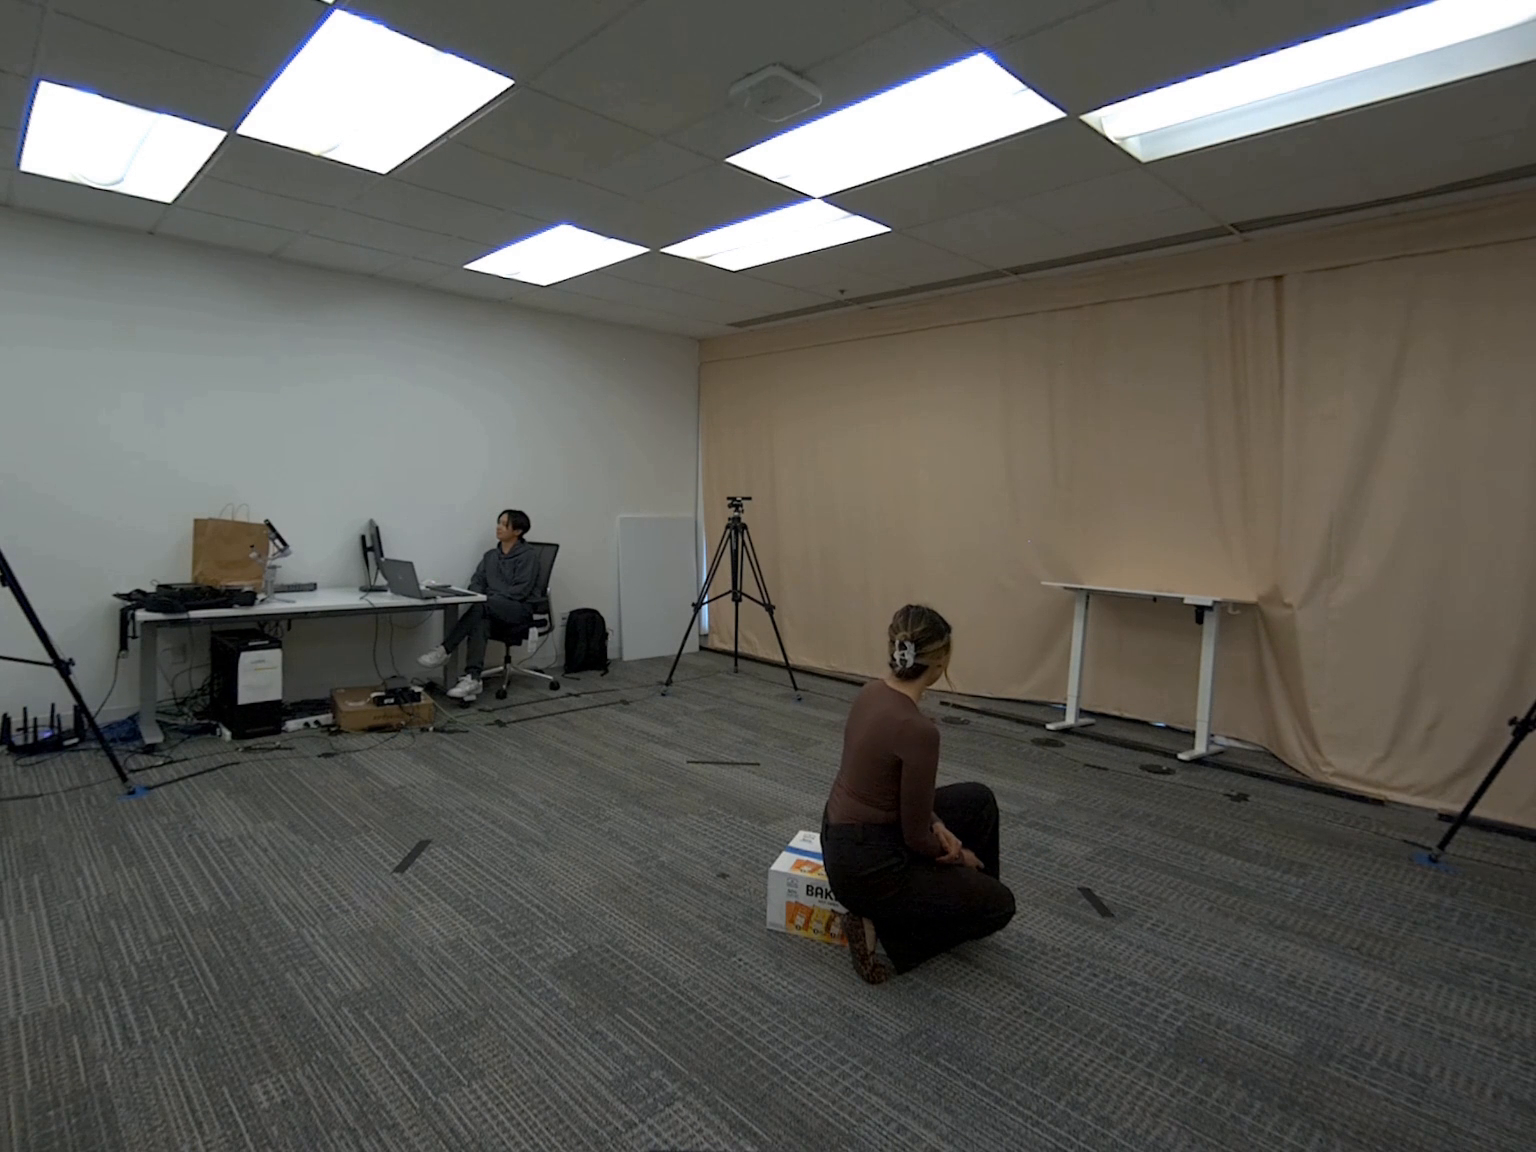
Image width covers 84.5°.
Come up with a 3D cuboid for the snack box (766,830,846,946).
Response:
[{"bbox_3d":[0.242,1.044,2.800,0.412,0.205,0.336,4,6,20],"label":"snack box"}]
